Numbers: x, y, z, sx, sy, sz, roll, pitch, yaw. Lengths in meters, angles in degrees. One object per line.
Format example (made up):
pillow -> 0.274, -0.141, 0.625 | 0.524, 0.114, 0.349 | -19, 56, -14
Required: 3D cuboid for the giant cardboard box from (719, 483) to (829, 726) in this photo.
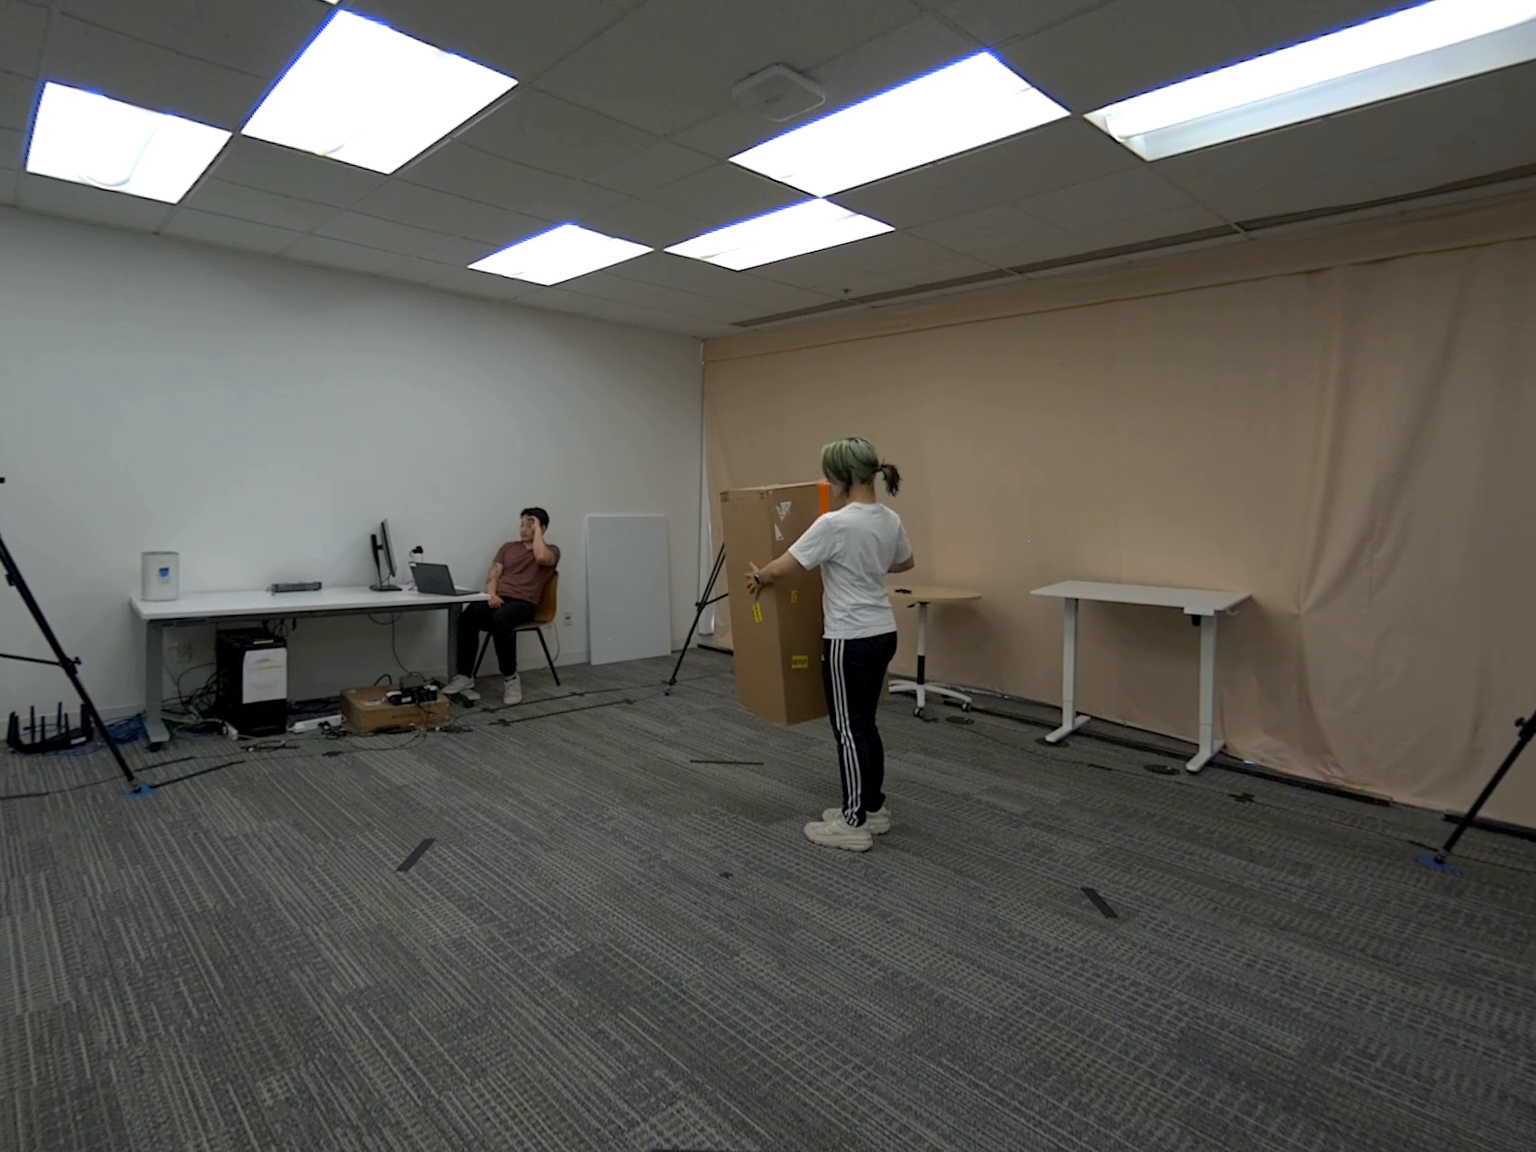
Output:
giant cardboard box -> 0.155, 0.089, 3.875 | 0.567, 1.021, 0.436 | -8, 7, -30
